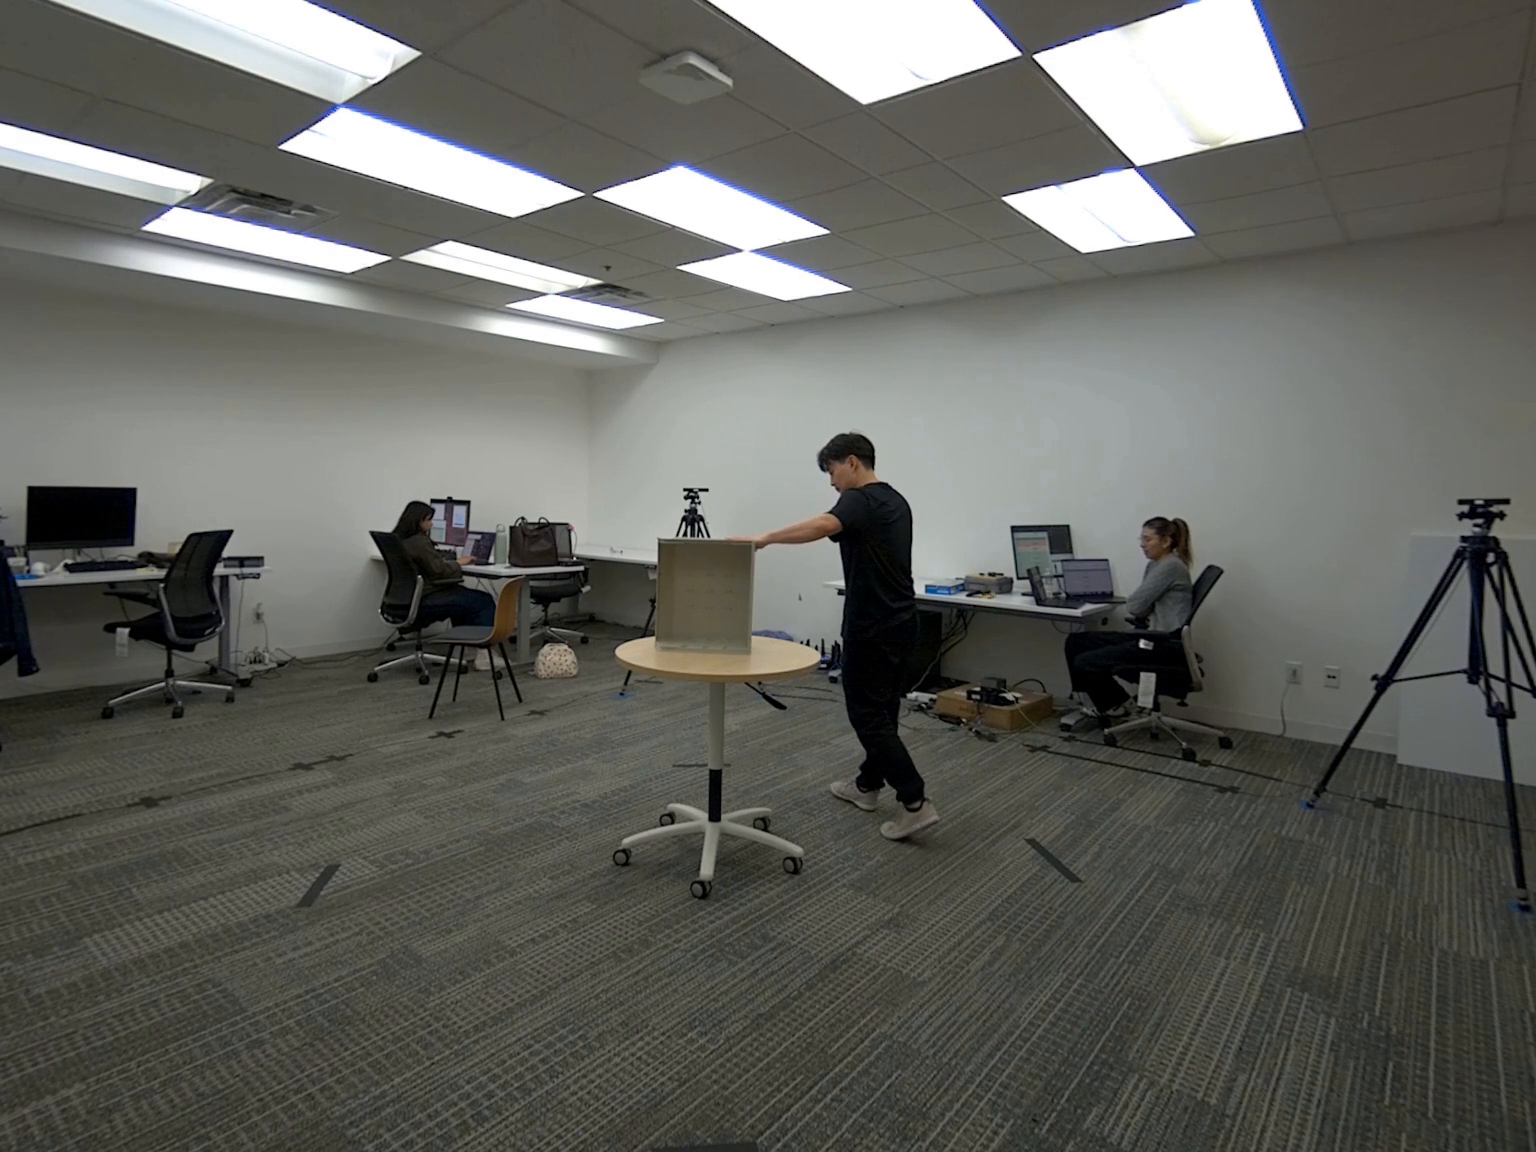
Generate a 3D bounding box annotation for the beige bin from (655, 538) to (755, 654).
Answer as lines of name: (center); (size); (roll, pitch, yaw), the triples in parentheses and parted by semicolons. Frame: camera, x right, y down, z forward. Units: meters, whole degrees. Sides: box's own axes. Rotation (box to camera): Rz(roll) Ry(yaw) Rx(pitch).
beige bin: (-0.257, 0.066, 3.228); (0.379, 0.421, 0.189); (1, 2, 3)
